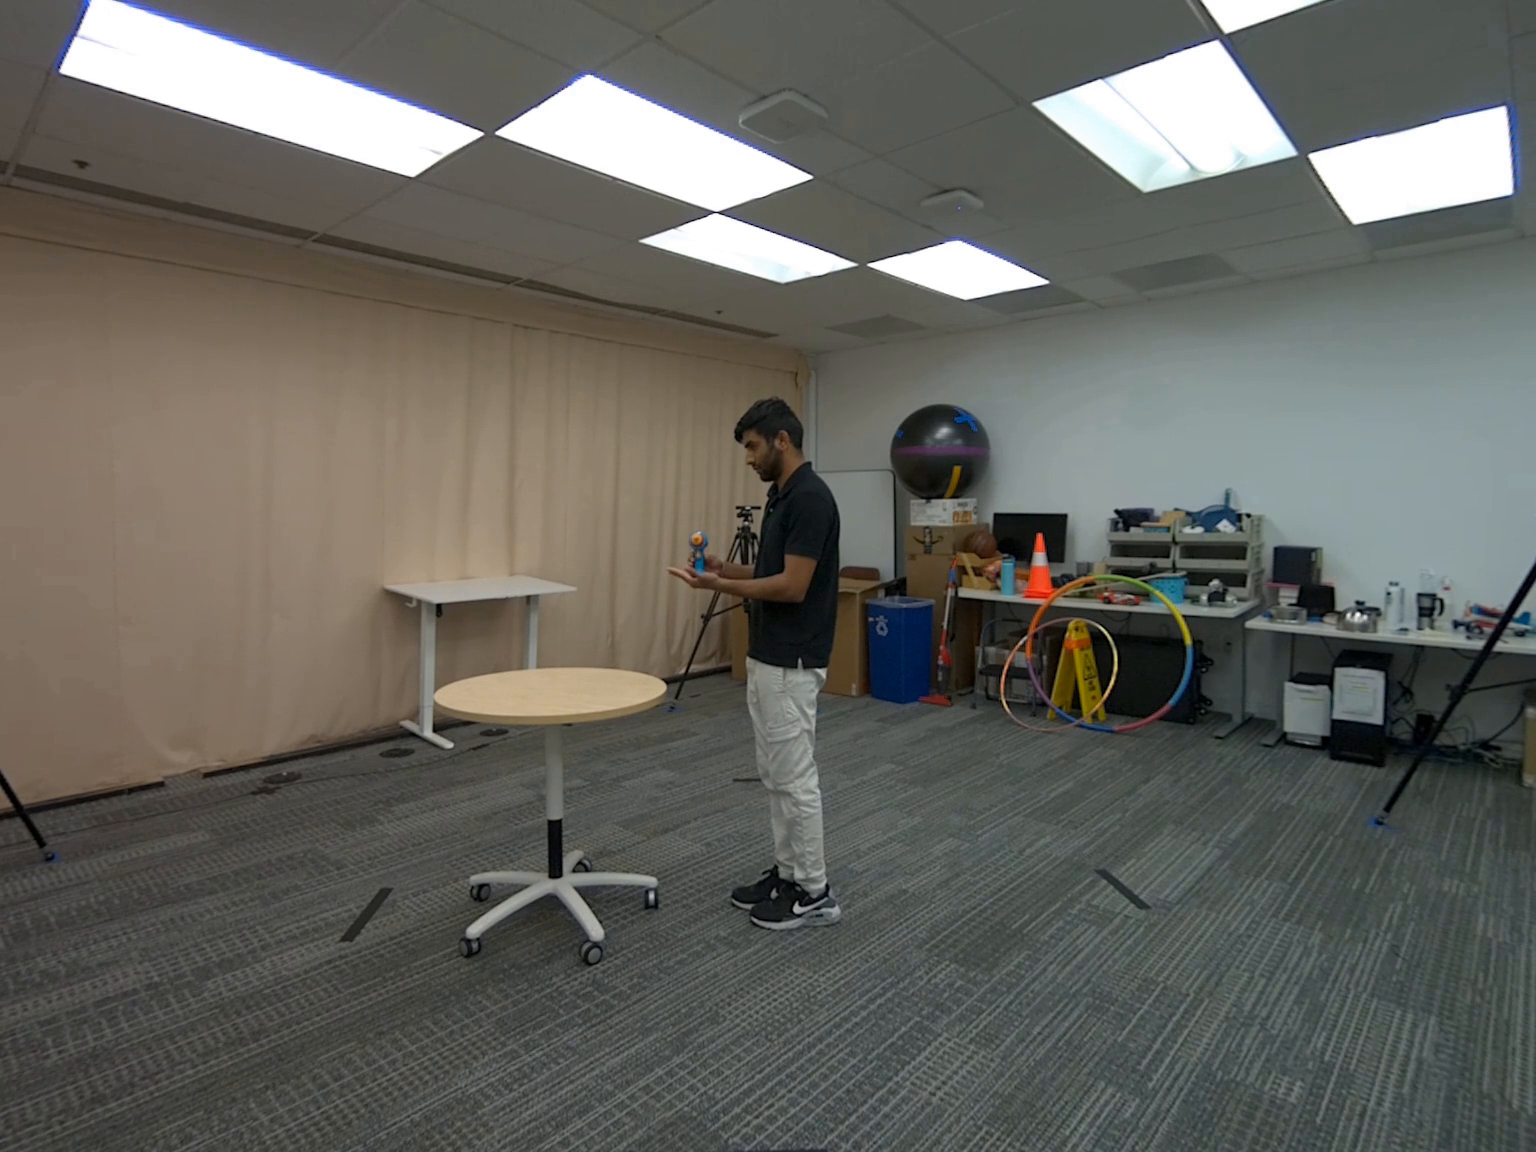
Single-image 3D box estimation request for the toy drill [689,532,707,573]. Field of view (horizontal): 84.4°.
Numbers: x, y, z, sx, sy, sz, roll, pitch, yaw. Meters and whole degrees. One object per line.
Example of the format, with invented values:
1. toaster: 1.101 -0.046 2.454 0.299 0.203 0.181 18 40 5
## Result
1. toy drill: -0.225 -0.074 2.735 0.061 0.147 0.169 -3 -7 -2
